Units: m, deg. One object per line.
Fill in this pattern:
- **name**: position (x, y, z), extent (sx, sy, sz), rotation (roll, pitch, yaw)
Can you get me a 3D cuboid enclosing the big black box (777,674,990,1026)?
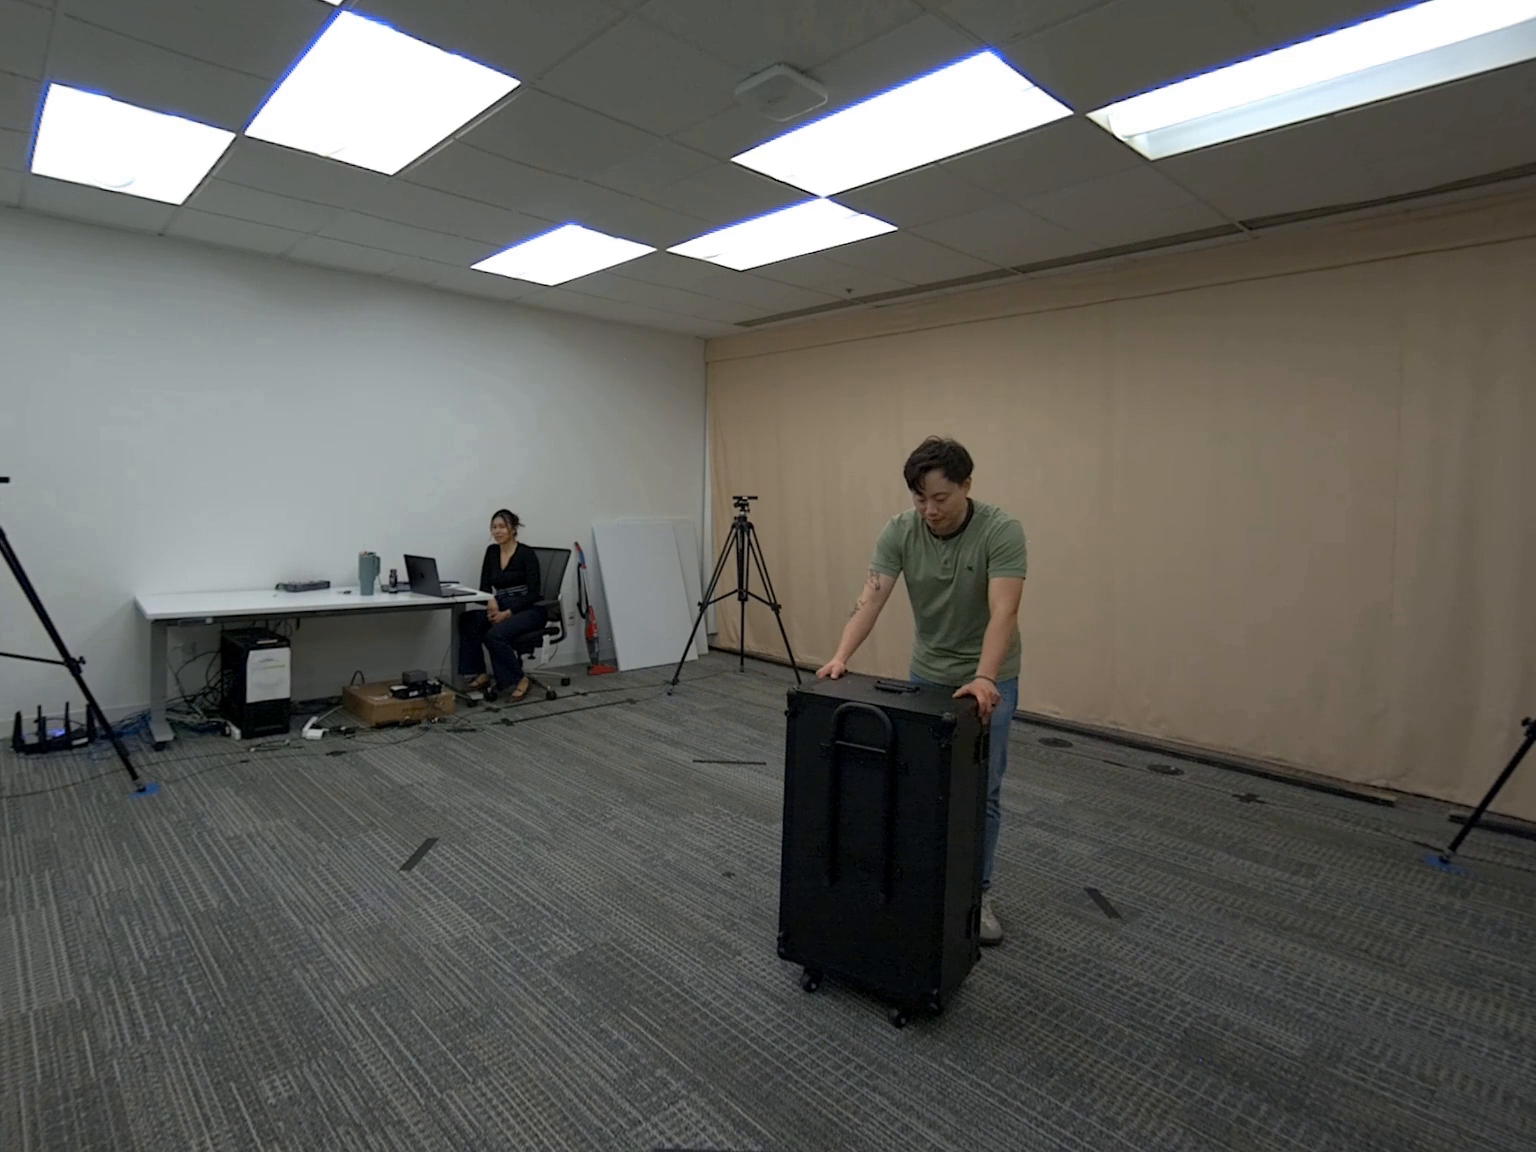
- **big black box**: position (0.326, 0.751, 2.401), extent (0.533, 0.859, 0.388), rotation (4, 4, 33)
